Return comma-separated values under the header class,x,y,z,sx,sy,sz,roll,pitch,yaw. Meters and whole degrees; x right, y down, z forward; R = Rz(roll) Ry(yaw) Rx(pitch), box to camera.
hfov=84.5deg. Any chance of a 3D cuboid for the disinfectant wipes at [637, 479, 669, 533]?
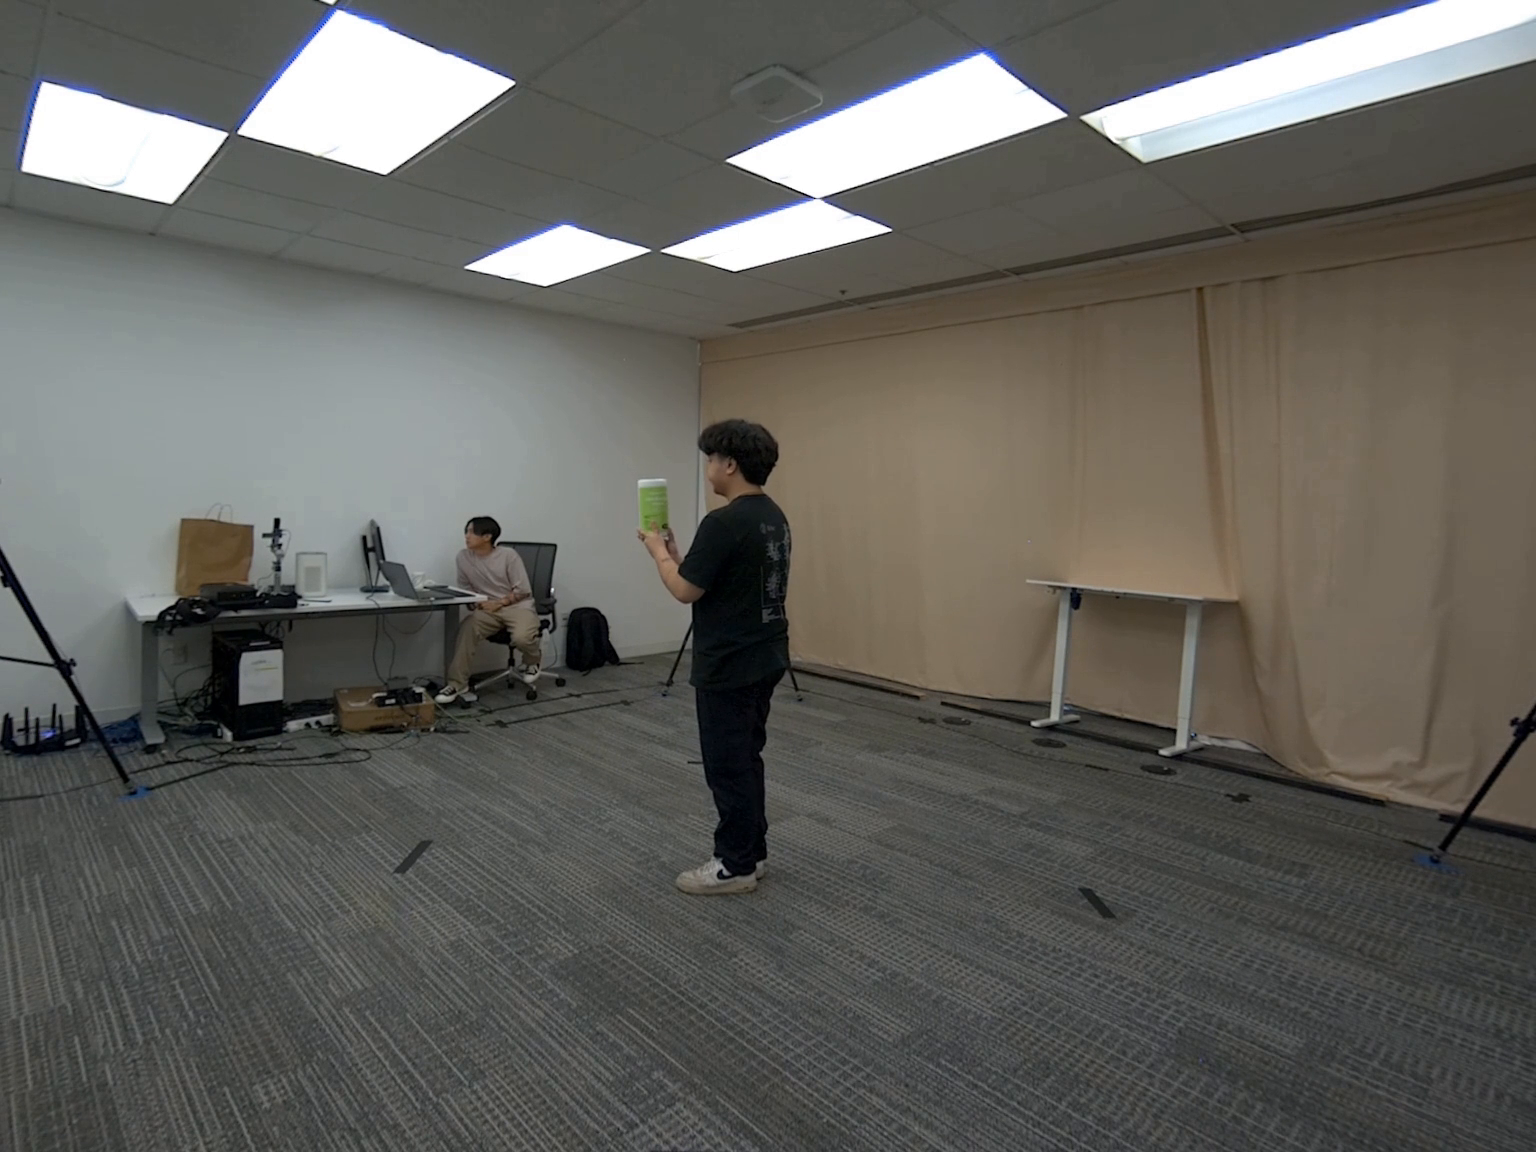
class,x,y,z,sx,sy,sz,roll,pitch,yaw
disinfectant wipes,-0.429,-0.249,3.131,0.118,0.217,0.118,-3,4,-1
